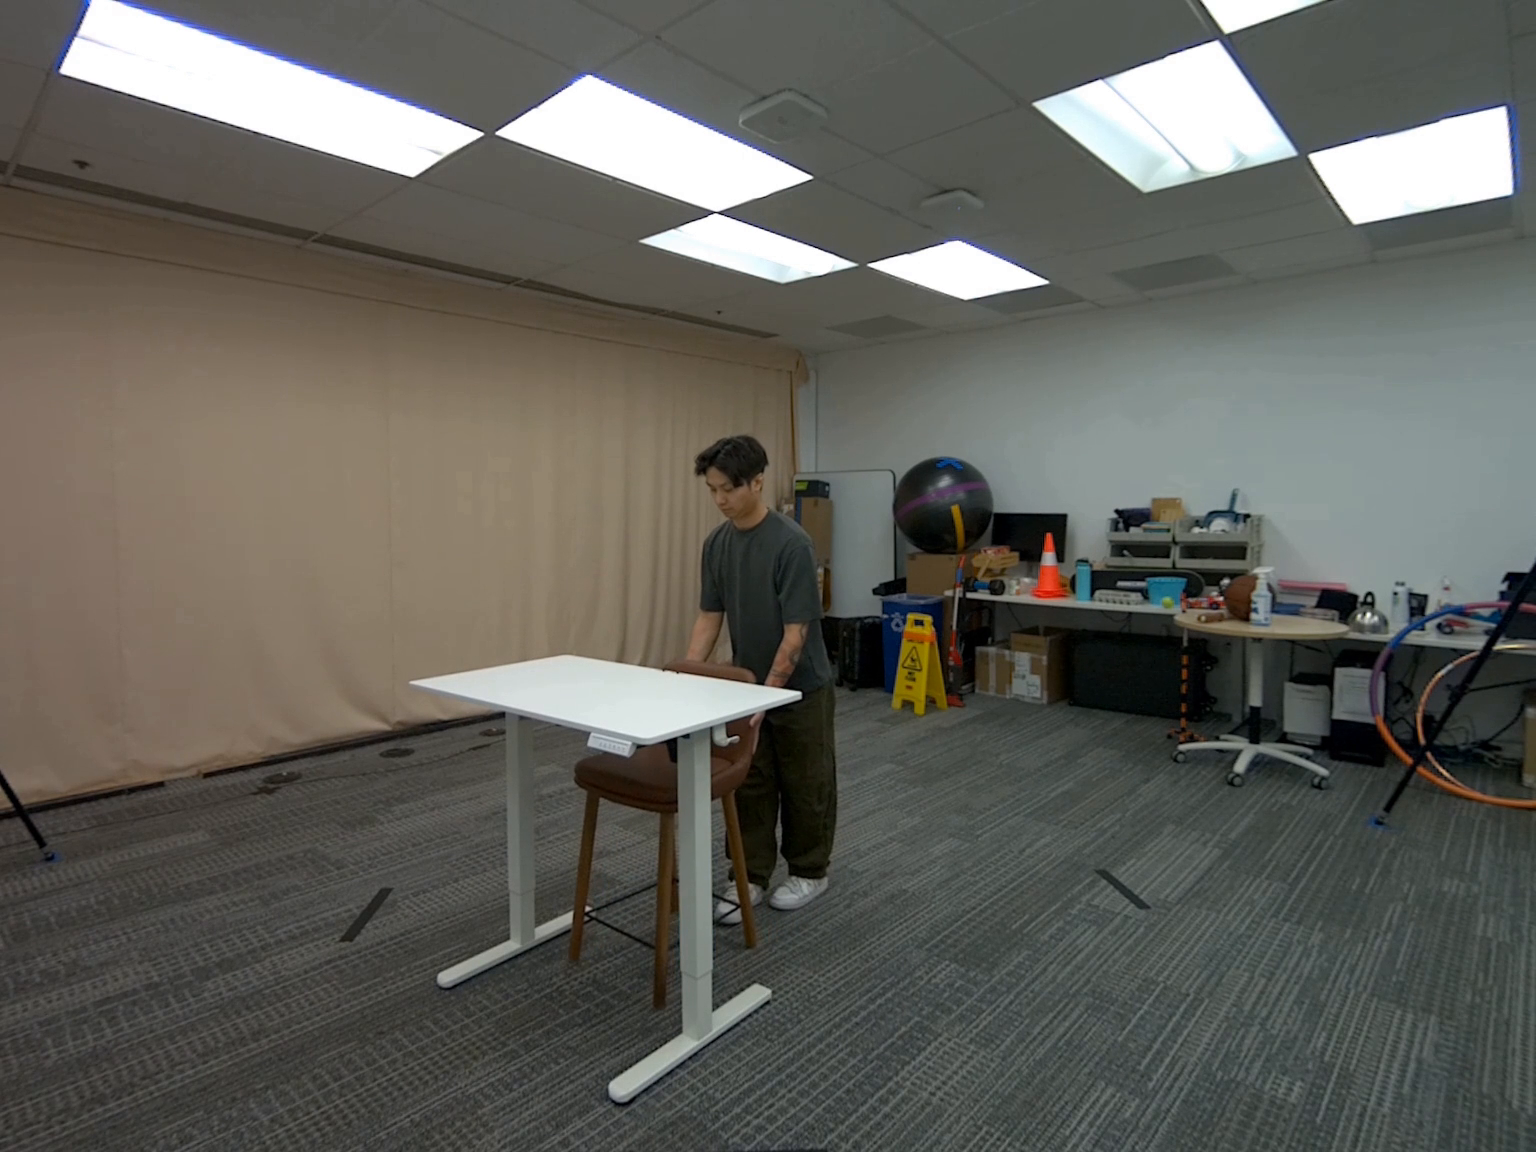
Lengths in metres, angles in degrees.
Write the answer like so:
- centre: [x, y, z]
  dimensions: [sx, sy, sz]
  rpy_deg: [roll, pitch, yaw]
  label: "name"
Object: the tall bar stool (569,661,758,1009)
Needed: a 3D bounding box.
- centre: [-0.311, 0.736, 2.602]
  dimensions: [0.471, 0.889, 0.453]
  rpy_deg: [2, 1, 41]
  label: "tall bar stool"
